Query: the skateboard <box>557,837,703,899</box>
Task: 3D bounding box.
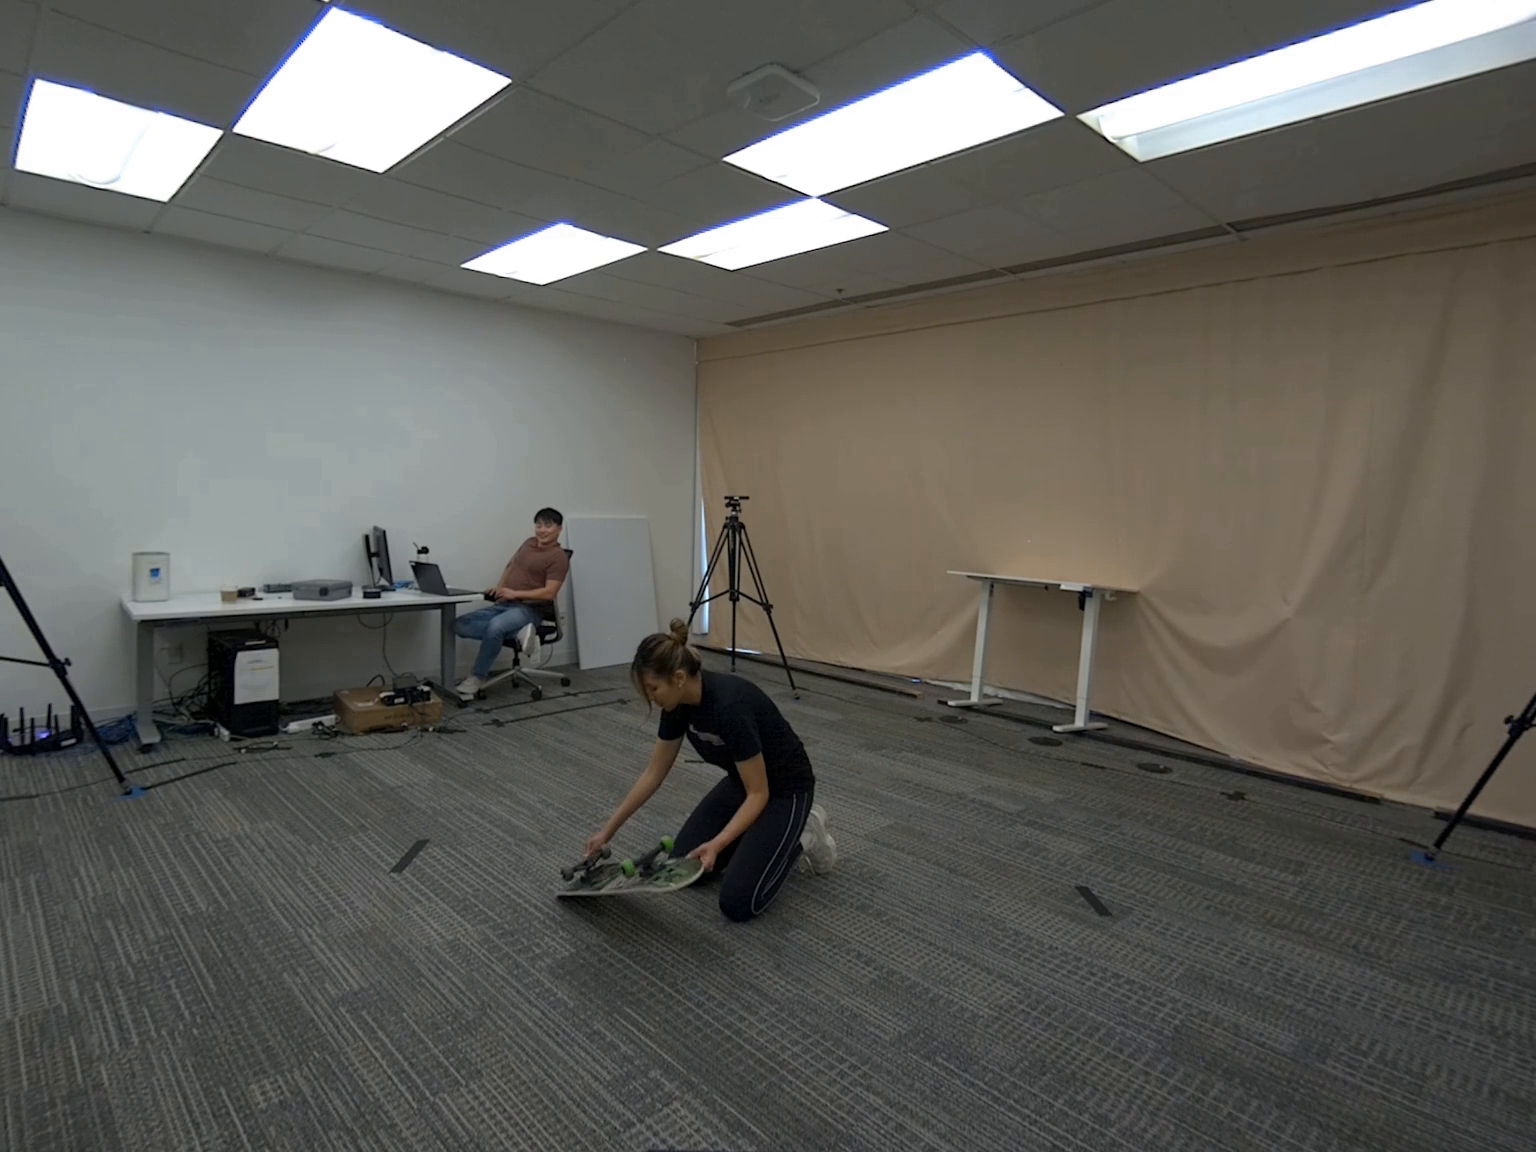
[{"bbox_3d":[-0.478,0.931,2.693,0.191,0.110,0.794,-23,-1,-42],"label":"skateboard"}]
